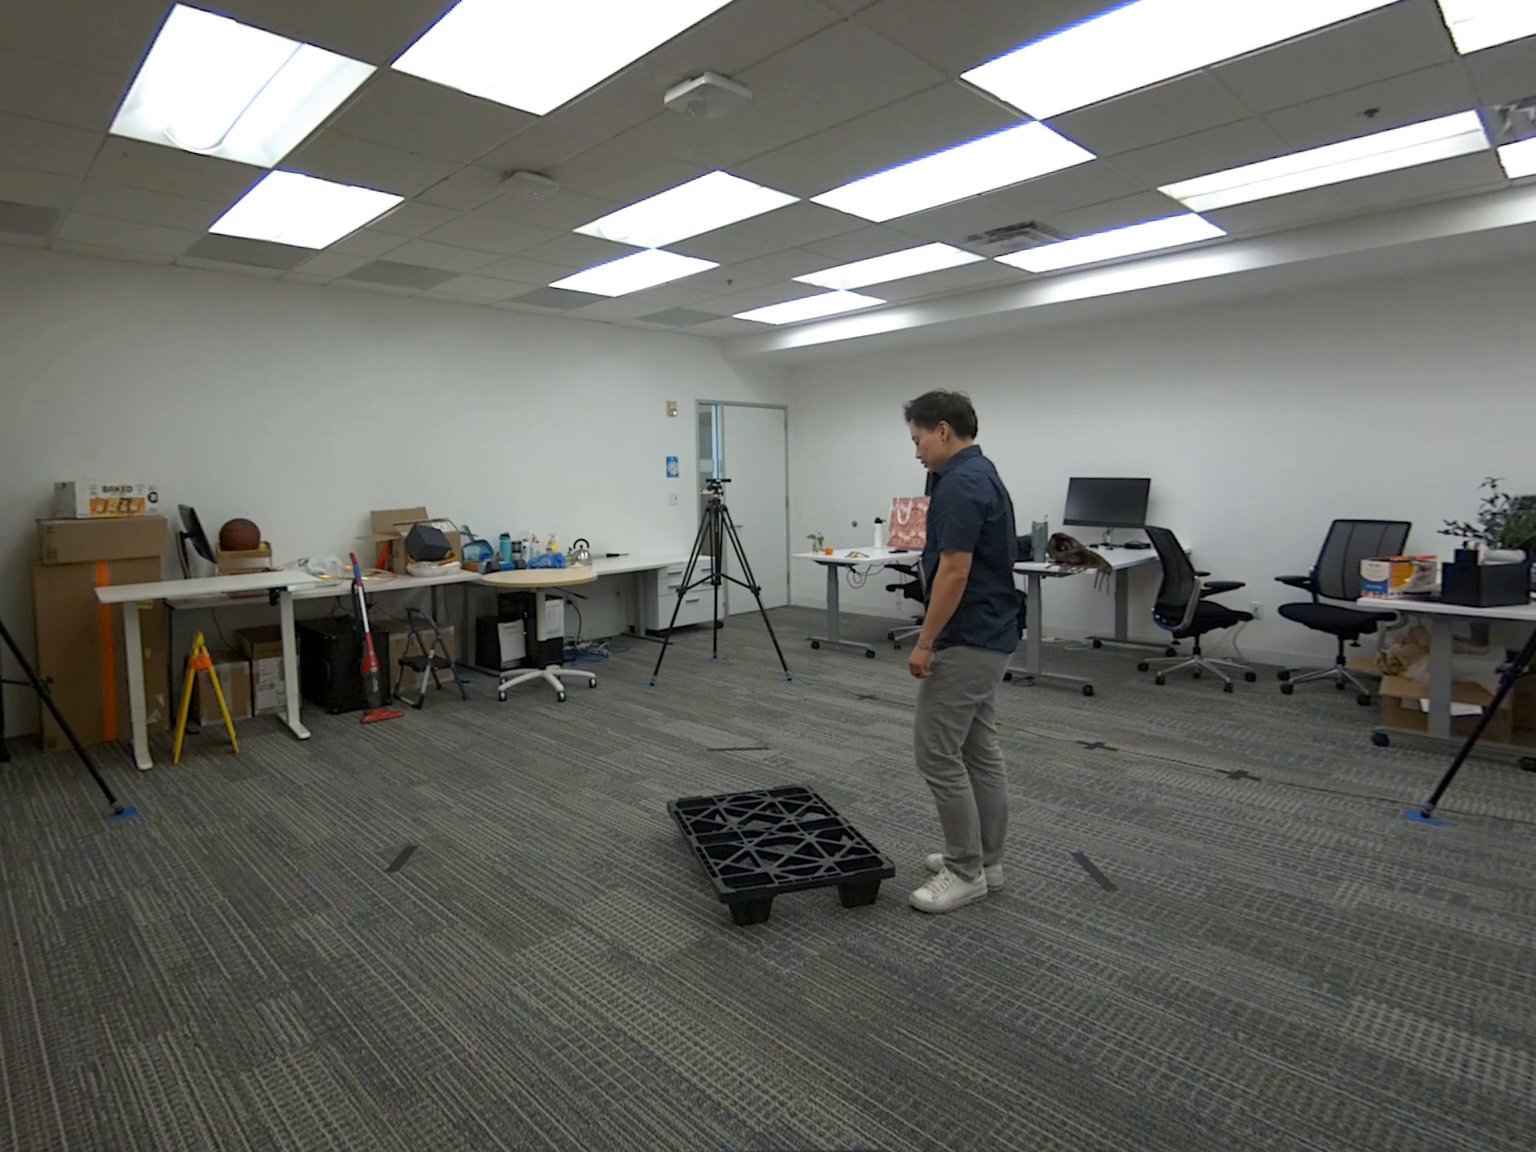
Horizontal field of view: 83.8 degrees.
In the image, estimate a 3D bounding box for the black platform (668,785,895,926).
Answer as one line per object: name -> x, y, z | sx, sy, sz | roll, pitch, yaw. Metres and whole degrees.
black platform -> 0.010, 0.978, 3.073 | 0.596, 0.143, 0.821 | -4, 6, -18
